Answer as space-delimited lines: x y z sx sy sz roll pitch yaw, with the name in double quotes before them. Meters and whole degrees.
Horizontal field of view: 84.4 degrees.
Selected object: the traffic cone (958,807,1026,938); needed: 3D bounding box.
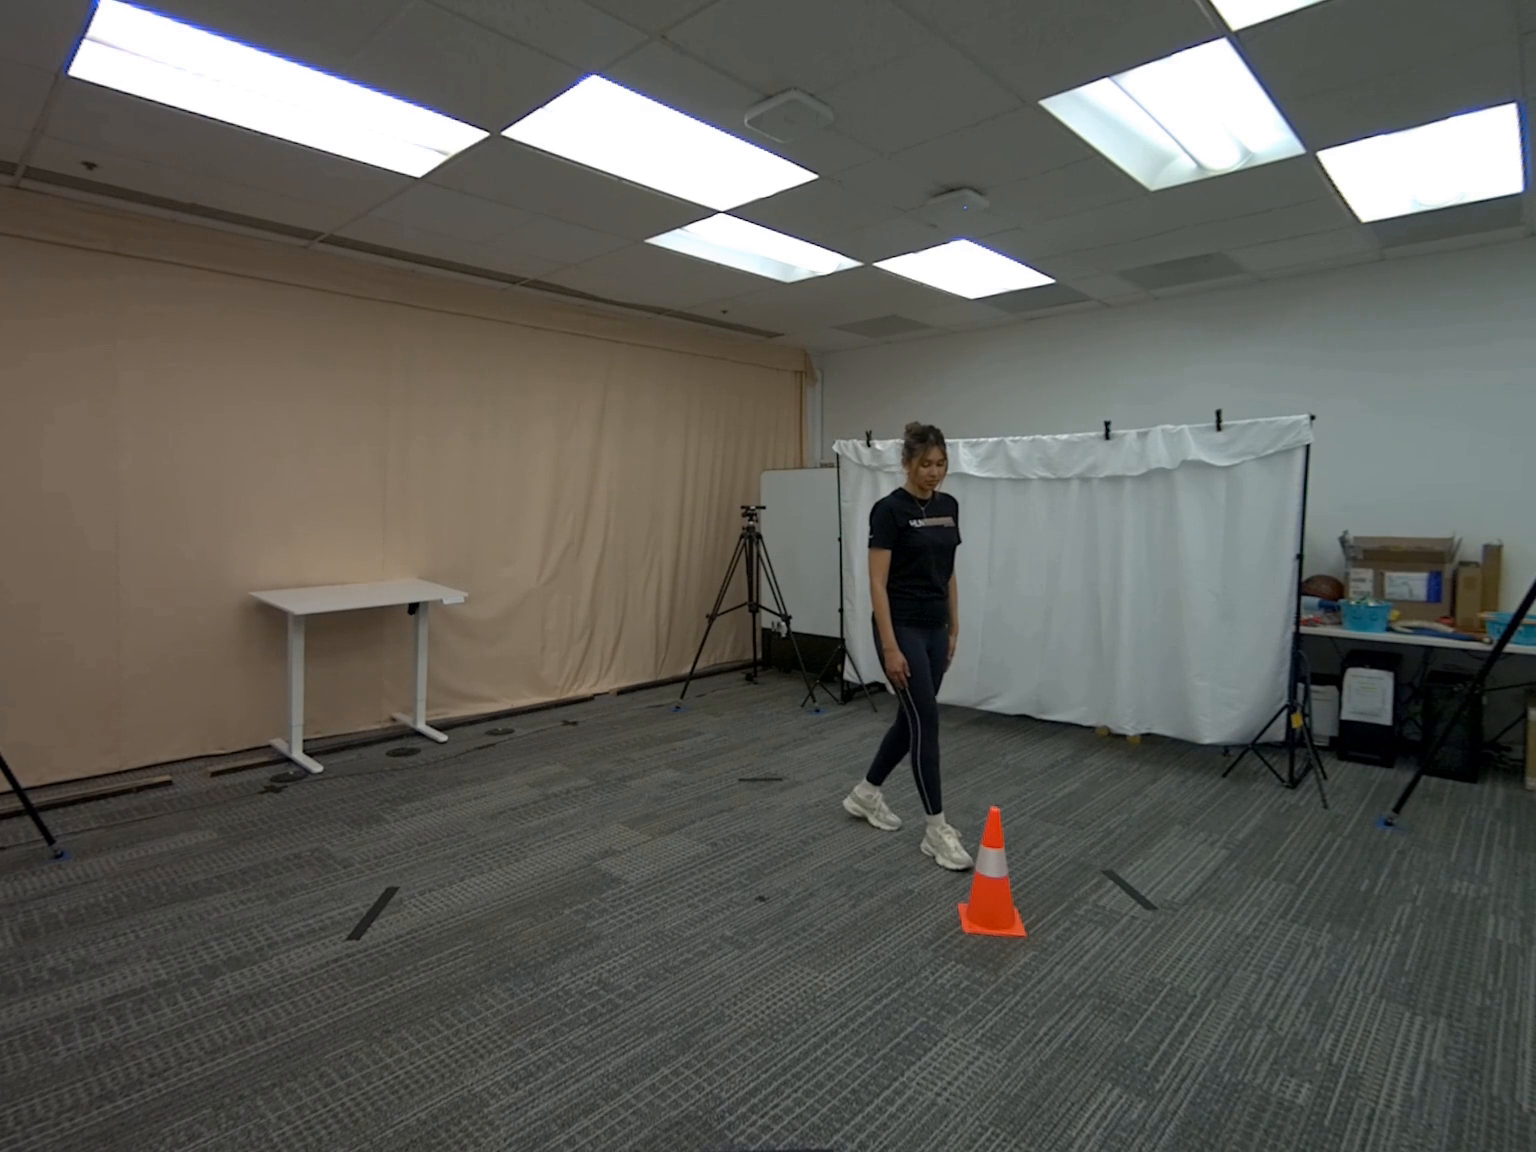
"traffic cone" 0.747 0.966 2.820 0.207 0.383 0.201 1 3 10
